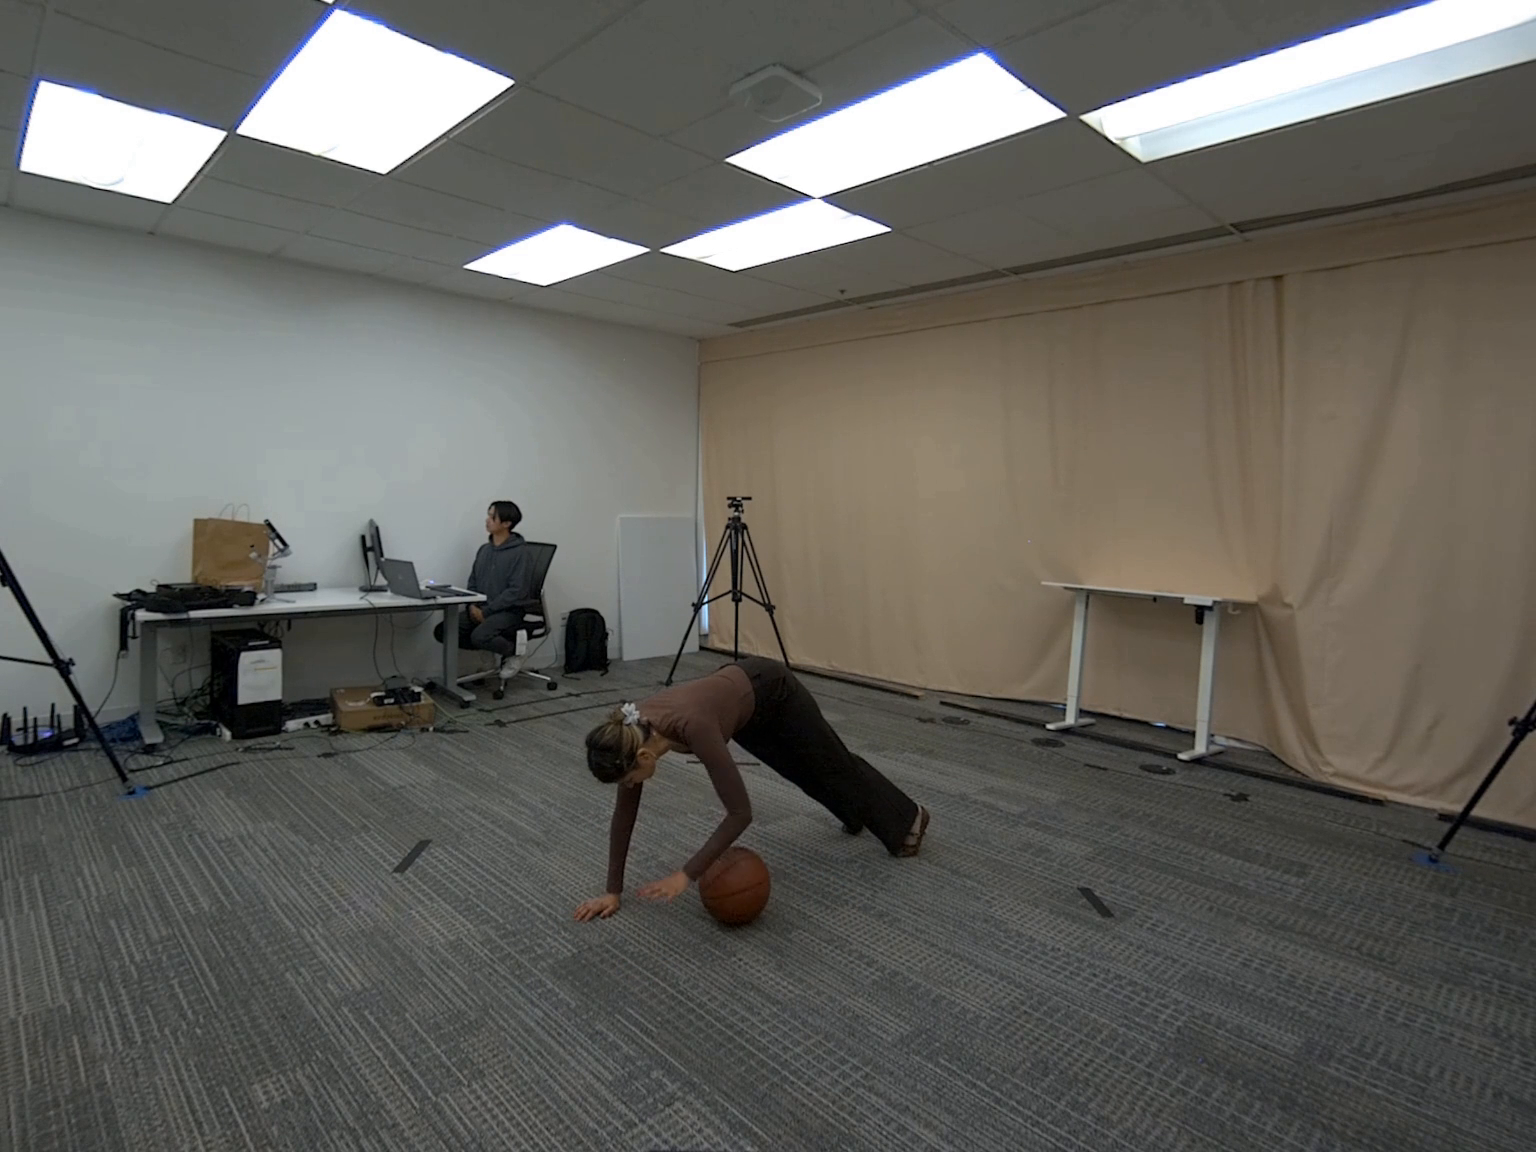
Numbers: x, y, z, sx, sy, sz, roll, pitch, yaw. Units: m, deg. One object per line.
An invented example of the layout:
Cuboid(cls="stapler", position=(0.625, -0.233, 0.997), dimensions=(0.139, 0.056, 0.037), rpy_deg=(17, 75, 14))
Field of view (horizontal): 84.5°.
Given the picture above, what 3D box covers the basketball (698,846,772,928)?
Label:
Cuboid(cls="basketball", position=(-0.112, 1.018, 2.763), dimensions=(0.236, 0.235, 0.237), rpy_deg=(1, 4, -1))
